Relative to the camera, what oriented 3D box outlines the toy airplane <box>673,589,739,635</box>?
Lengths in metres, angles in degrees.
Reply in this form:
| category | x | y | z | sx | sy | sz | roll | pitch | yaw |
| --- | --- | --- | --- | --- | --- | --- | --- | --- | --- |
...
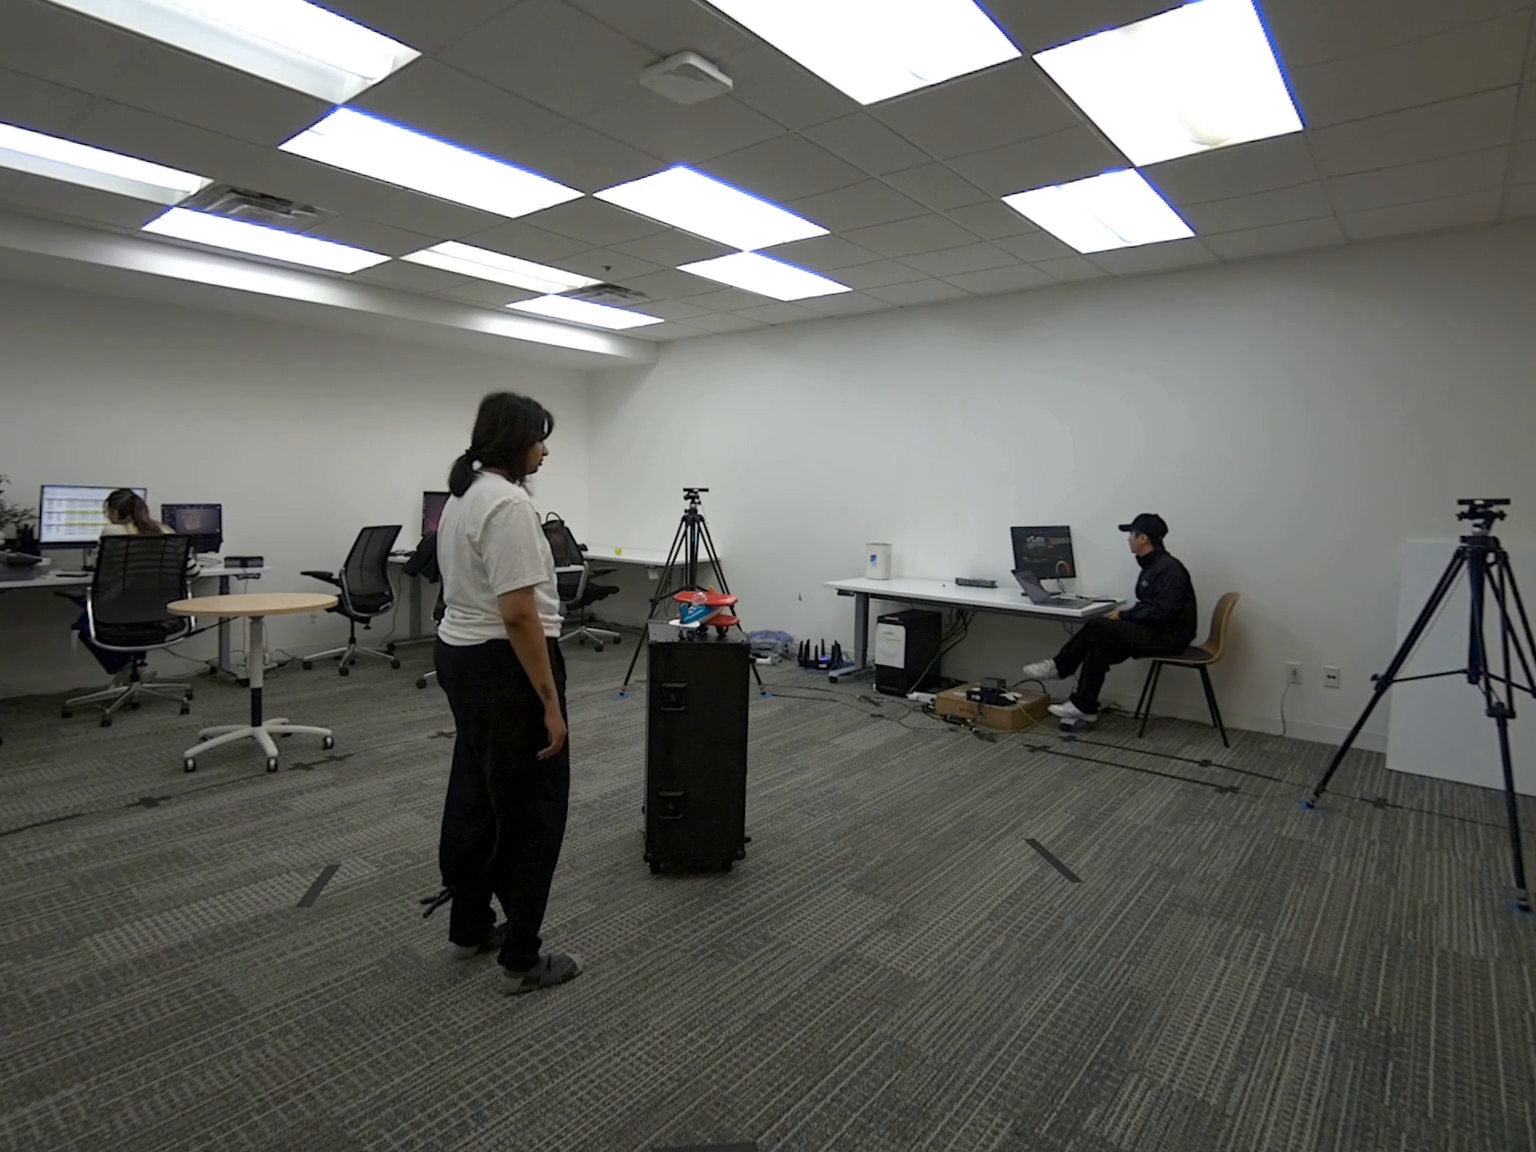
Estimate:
| category | x | y | z | sx | sy | sz | roll | pitch | yaw |
| --- | --- | --- | --- | --- | --- | --- | --- | --- | --- |
| toy airplane | -0.240 | 0.140 | 3.110 | 0.251 | 0.156 | 0.260 | 1 | 4 | 0 |
